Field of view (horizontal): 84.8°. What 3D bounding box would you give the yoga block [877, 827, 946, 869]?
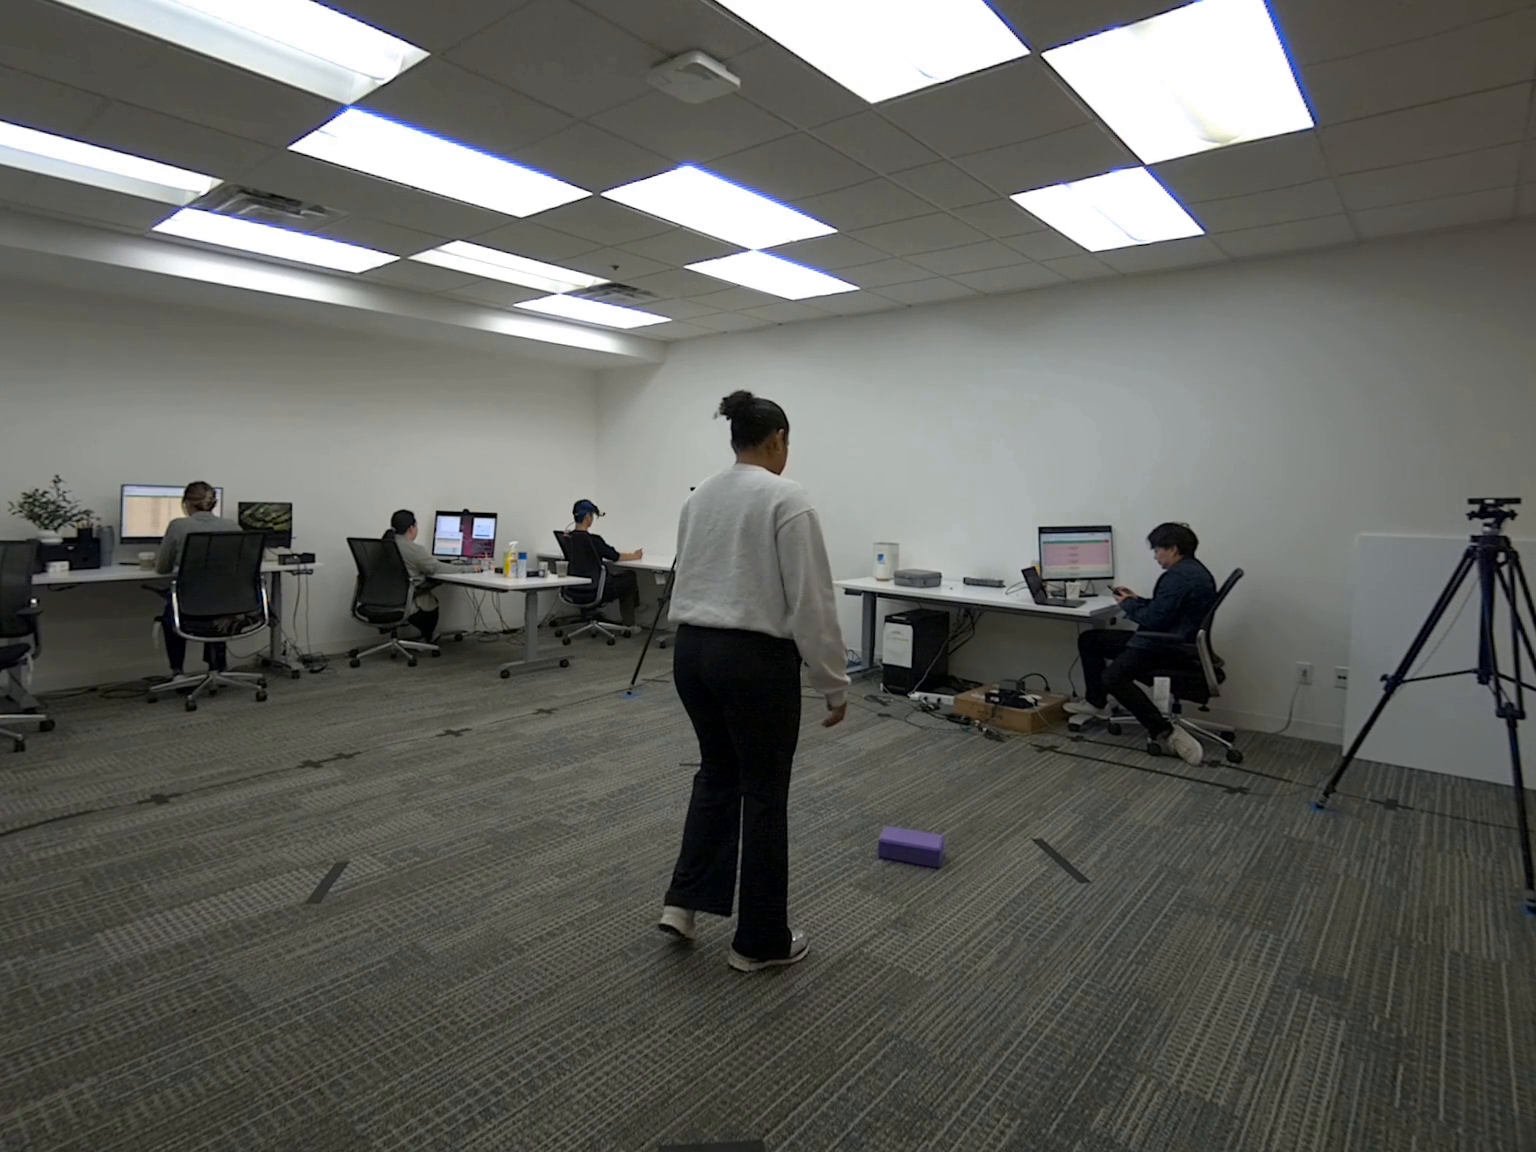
[{"bbox_3d":[0.543,1.031,3.254,0.234,0.076,0.146,3,6,20],"label":"yoga block"}]
